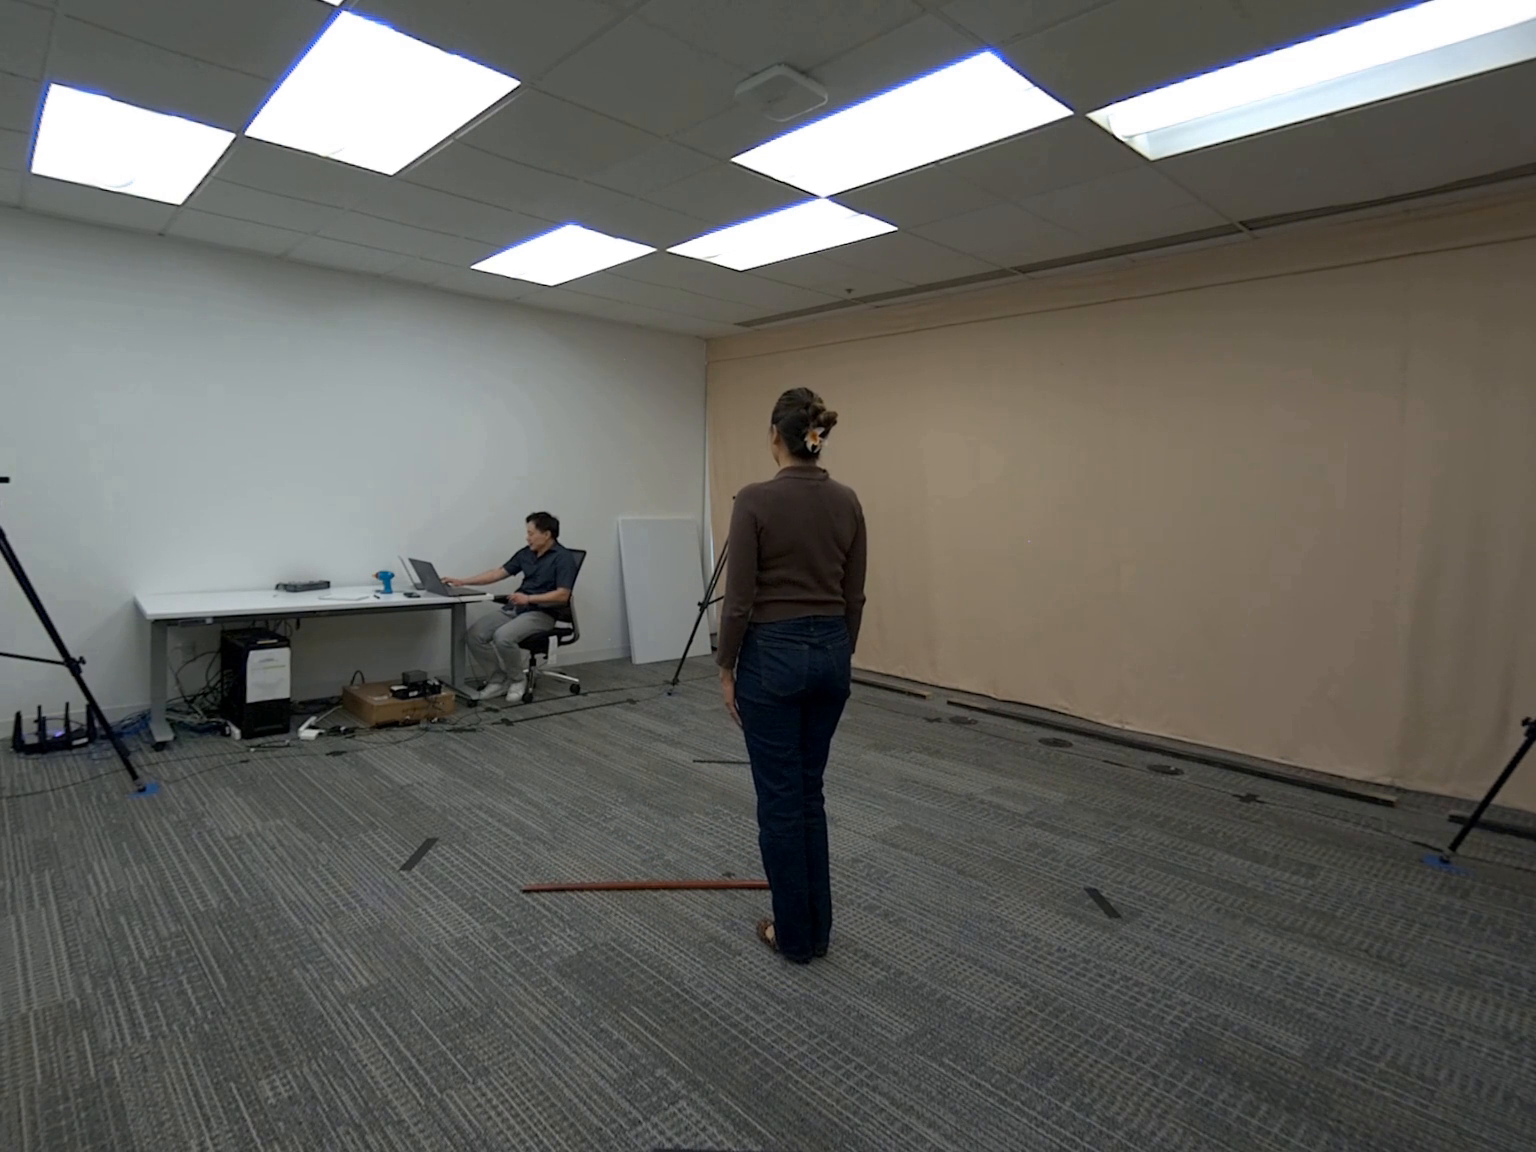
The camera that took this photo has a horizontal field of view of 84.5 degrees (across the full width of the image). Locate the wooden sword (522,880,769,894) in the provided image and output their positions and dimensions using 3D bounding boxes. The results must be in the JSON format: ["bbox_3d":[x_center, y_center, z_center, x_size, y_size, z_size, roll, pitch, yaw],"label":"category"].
[{"bbox_3d":[-0.357,1.089,2.974,1.021,0.023,0.052,1,29,-4],"label":"wooden sword"}]
